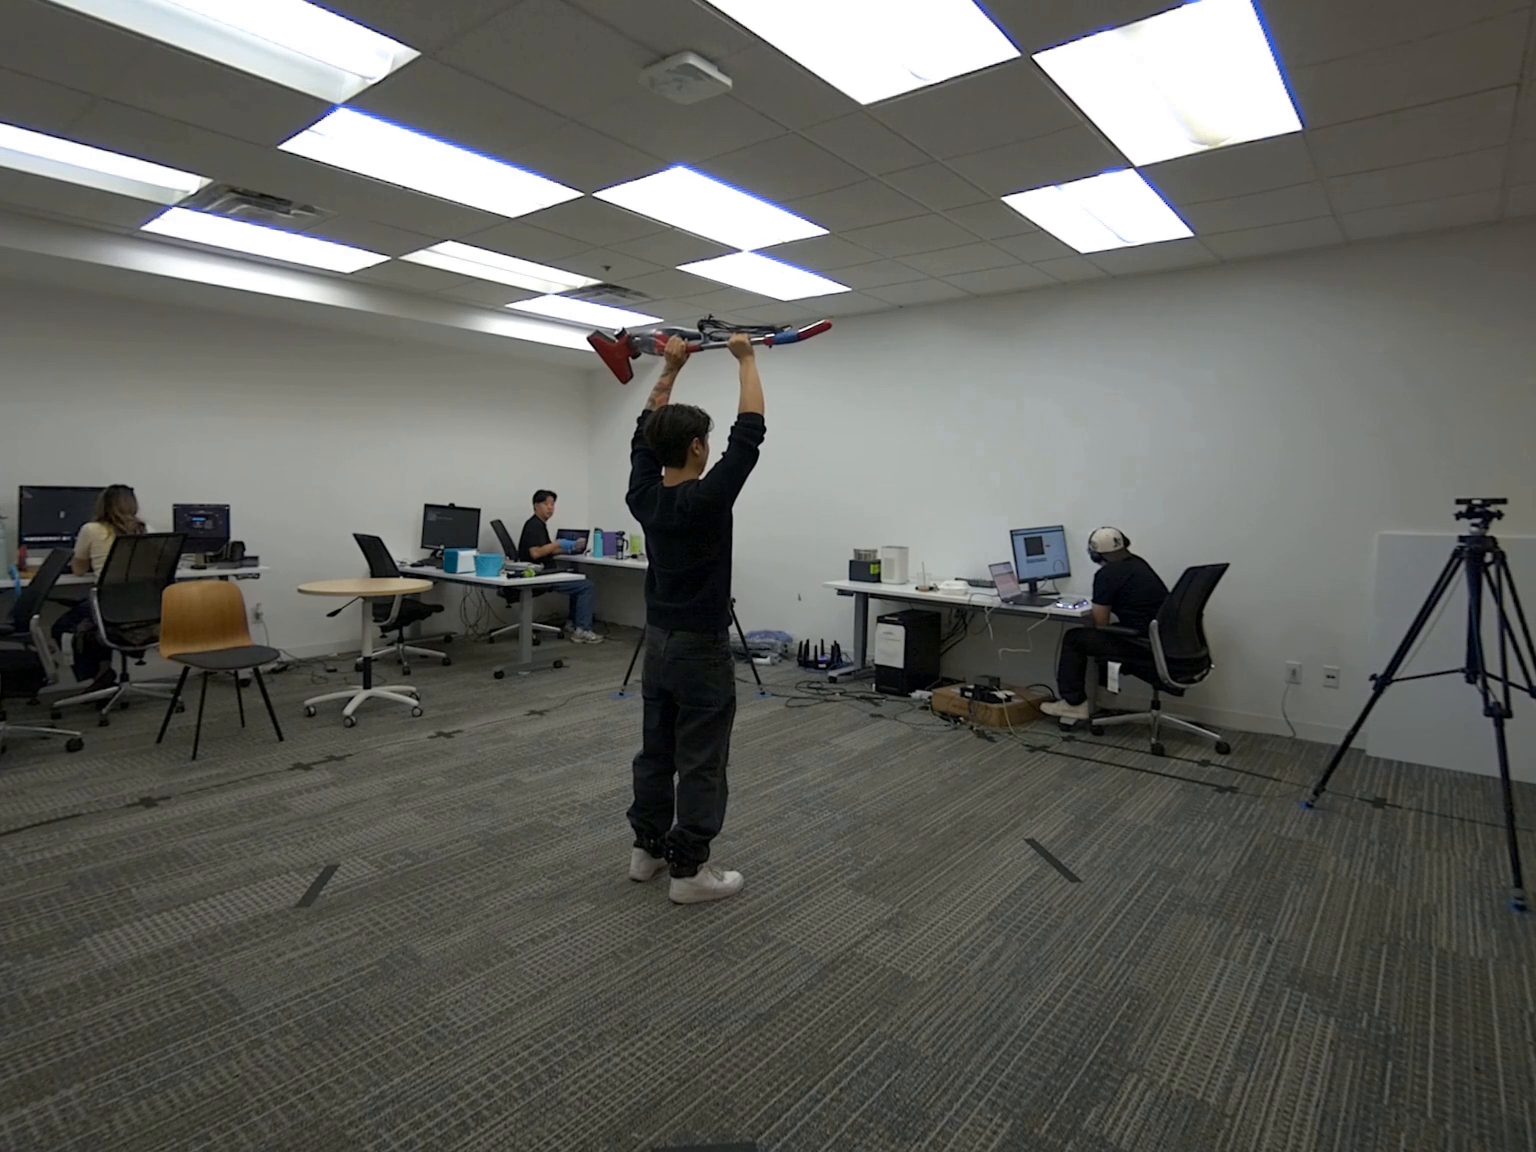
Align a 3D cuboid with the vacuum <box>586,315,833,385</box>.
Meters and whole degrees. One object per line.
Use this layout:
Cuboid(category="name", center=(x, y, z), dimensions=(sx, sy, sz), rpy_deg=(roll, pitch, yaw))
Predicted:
Cuboid(category="vacuum", center=(-0.219, -0.851, 3.020), dimensions=(1.086, 0.145, 0.242), rpy_deg=(7, -28, 42))
